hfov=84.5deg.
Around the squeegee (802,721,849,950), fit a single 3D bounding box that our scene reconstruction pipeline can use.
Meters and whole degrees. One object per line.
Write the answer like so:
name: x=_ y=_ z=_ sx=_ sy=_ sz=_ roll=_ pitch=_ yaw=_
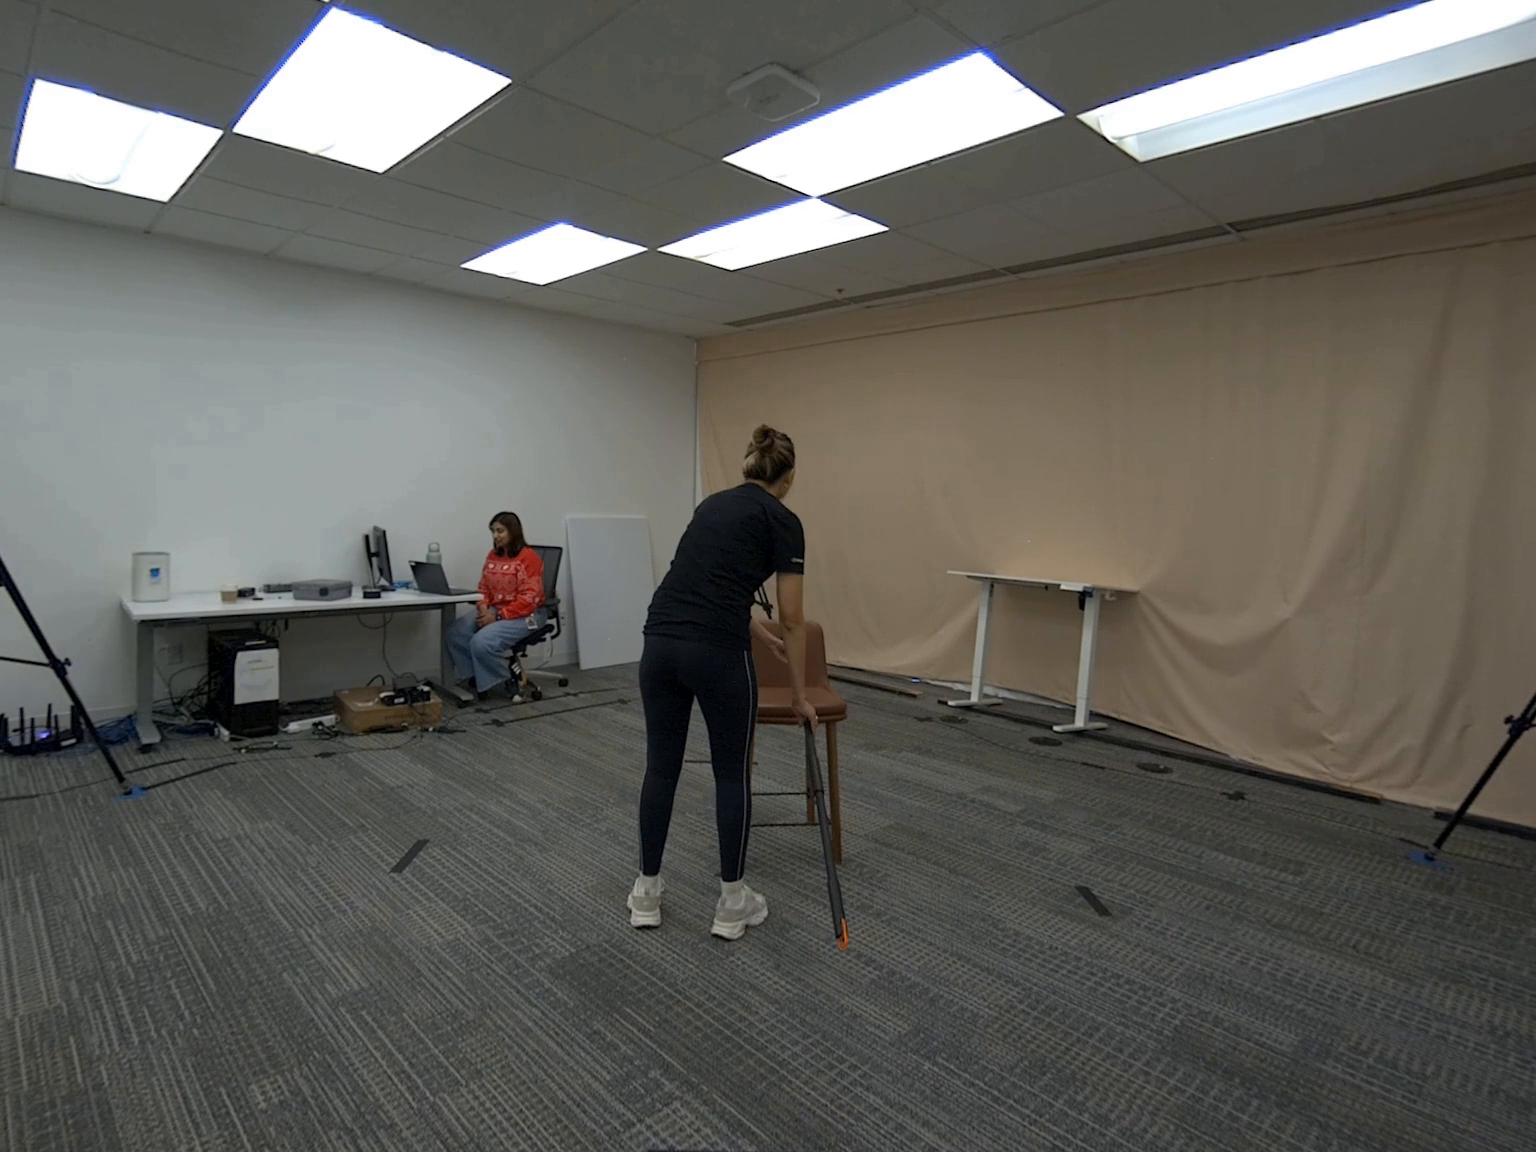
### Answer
squeegee: x=0.141 y=0.535 z=2.749 sx=0.053 sy=0.429 sz=1.568 roll=-5 pitch=29 yaw=-1
